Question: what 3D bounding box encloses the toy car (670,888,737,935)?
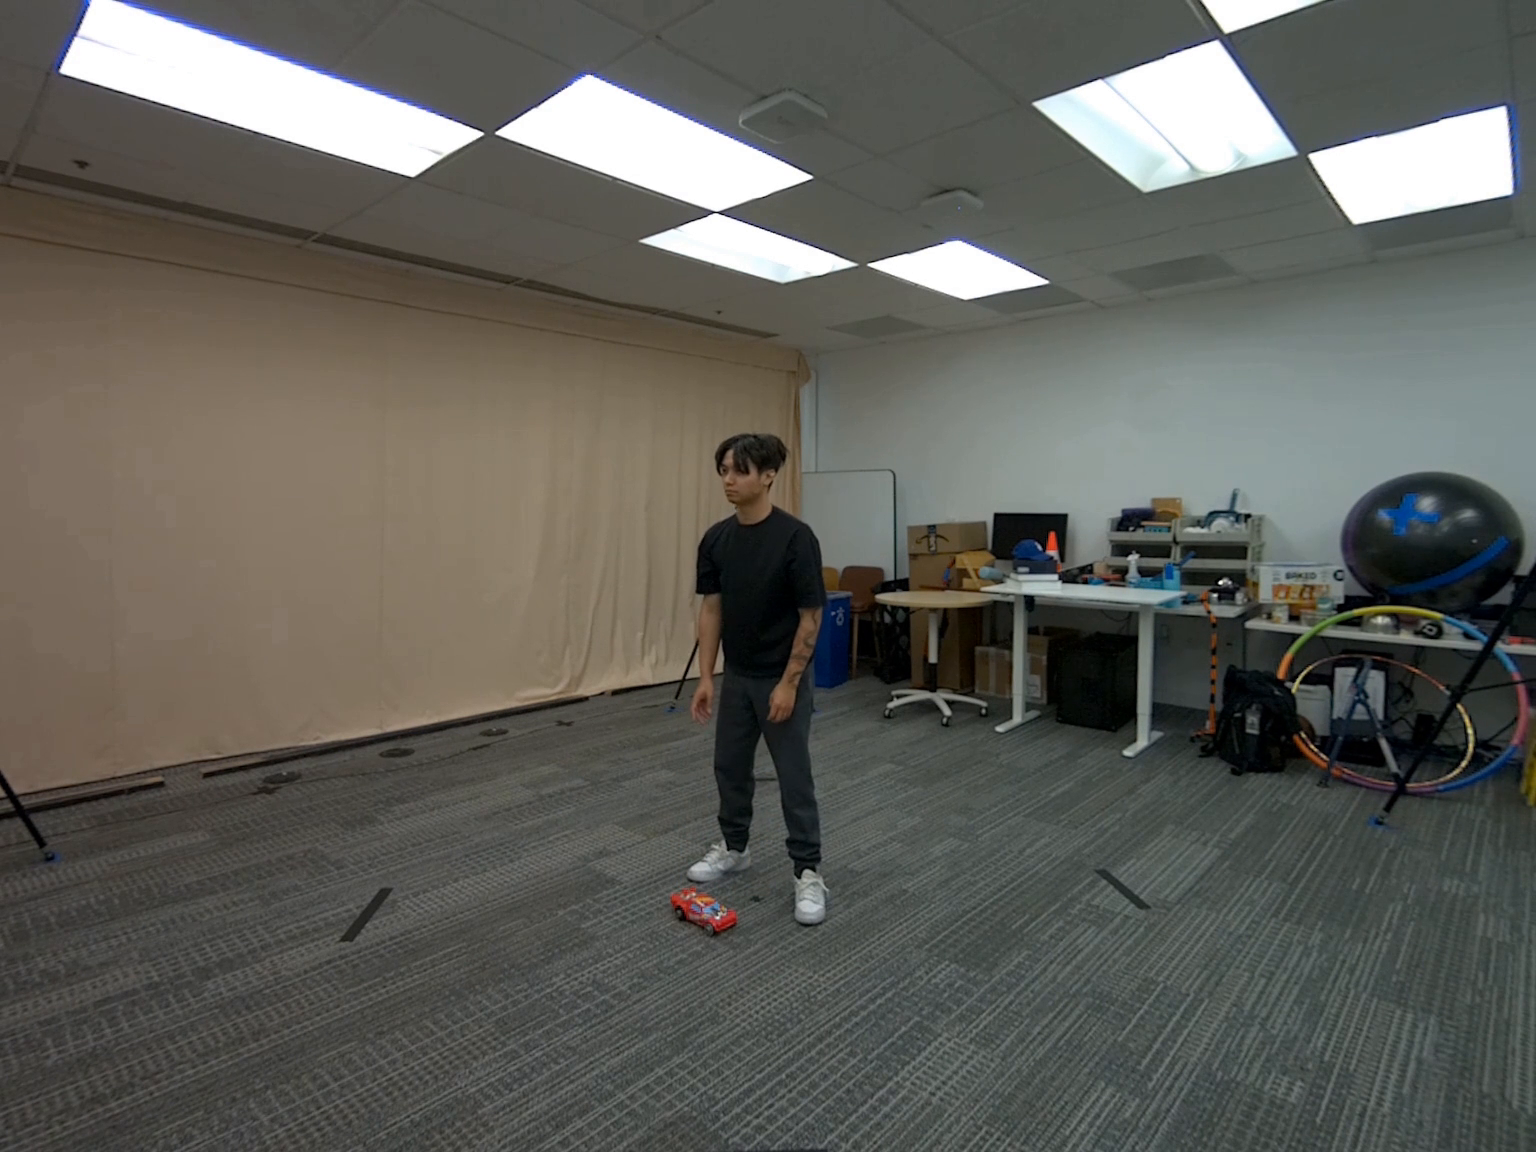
[{"bbox_3d":[-0.225,1.130,2.829,0.126,0.083,0.264,-5,17,-44],"label":"toy car"}]
